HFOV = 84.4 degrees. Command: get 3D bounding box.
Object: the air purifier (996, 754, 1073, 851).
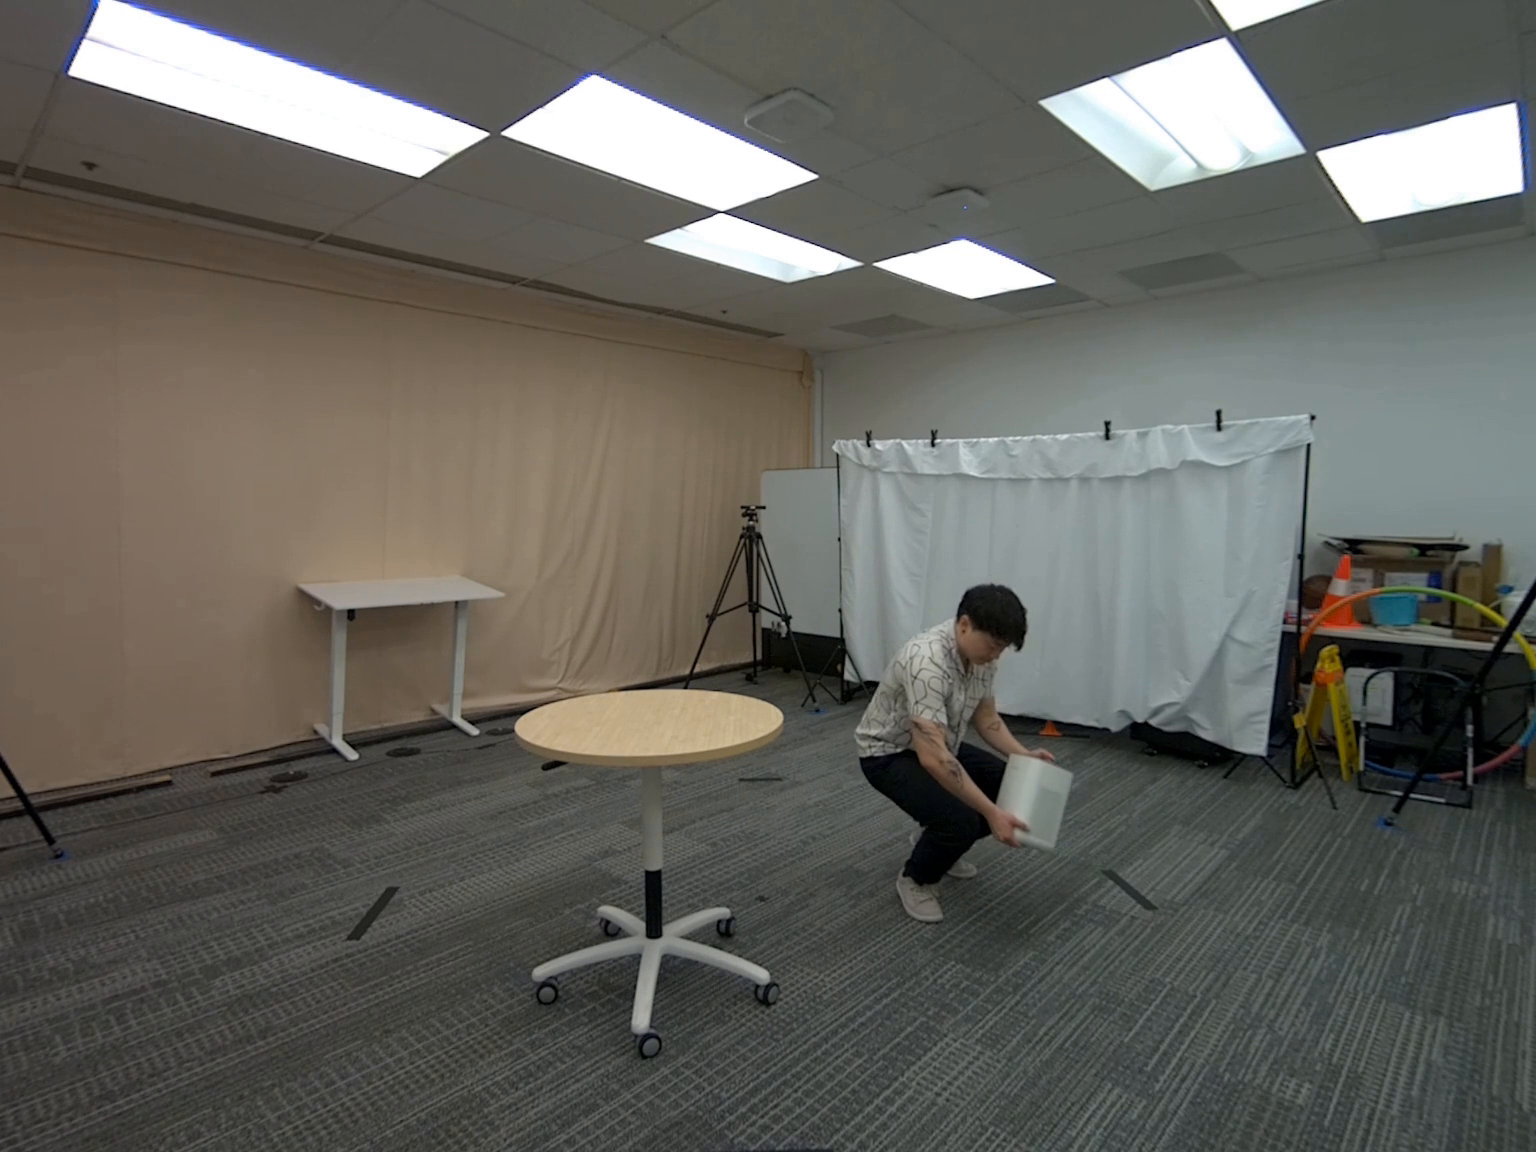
[{"bbox_3d":[0.839,0.720,2.677,0.169,0.266,0.173,22,-12,-14],"label":"air purifier"}]
